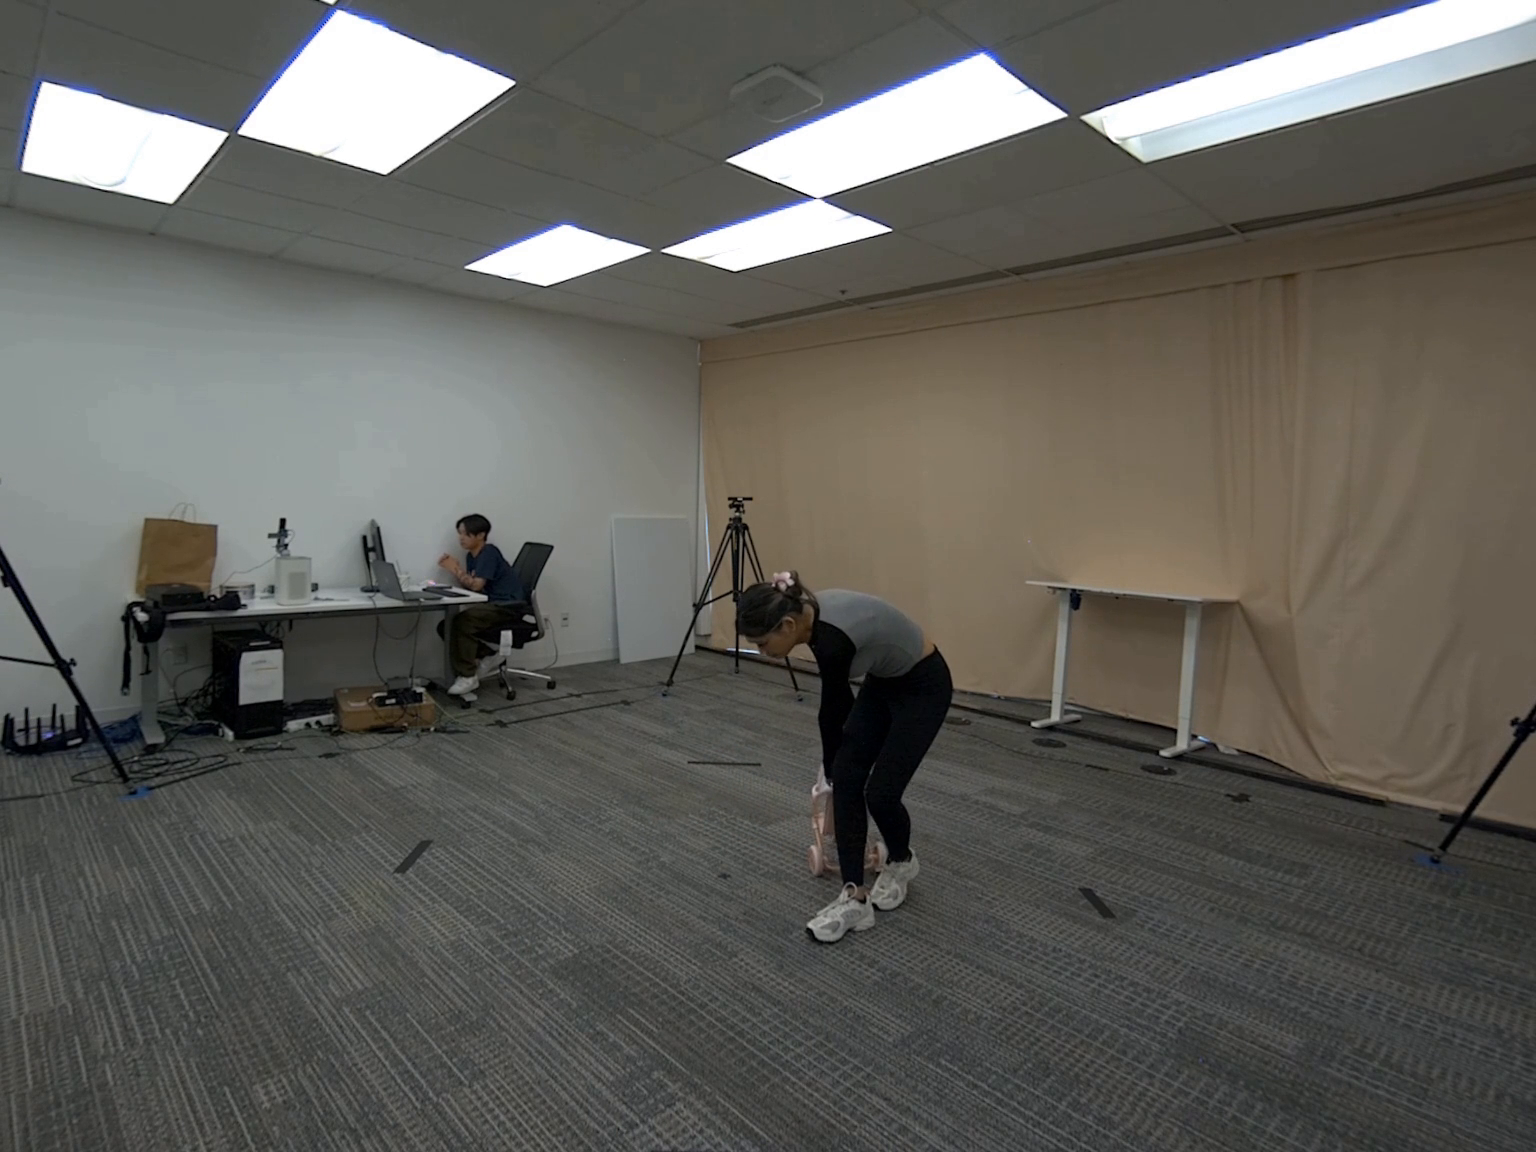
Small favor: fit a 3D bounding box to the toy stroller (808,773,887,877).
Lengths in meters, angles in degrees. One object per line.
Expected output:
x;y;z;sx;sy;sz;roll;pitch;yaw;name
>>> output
0.285;0.884;3.187;0.280;0.527;0.347;0;24;-4;toy stroller
